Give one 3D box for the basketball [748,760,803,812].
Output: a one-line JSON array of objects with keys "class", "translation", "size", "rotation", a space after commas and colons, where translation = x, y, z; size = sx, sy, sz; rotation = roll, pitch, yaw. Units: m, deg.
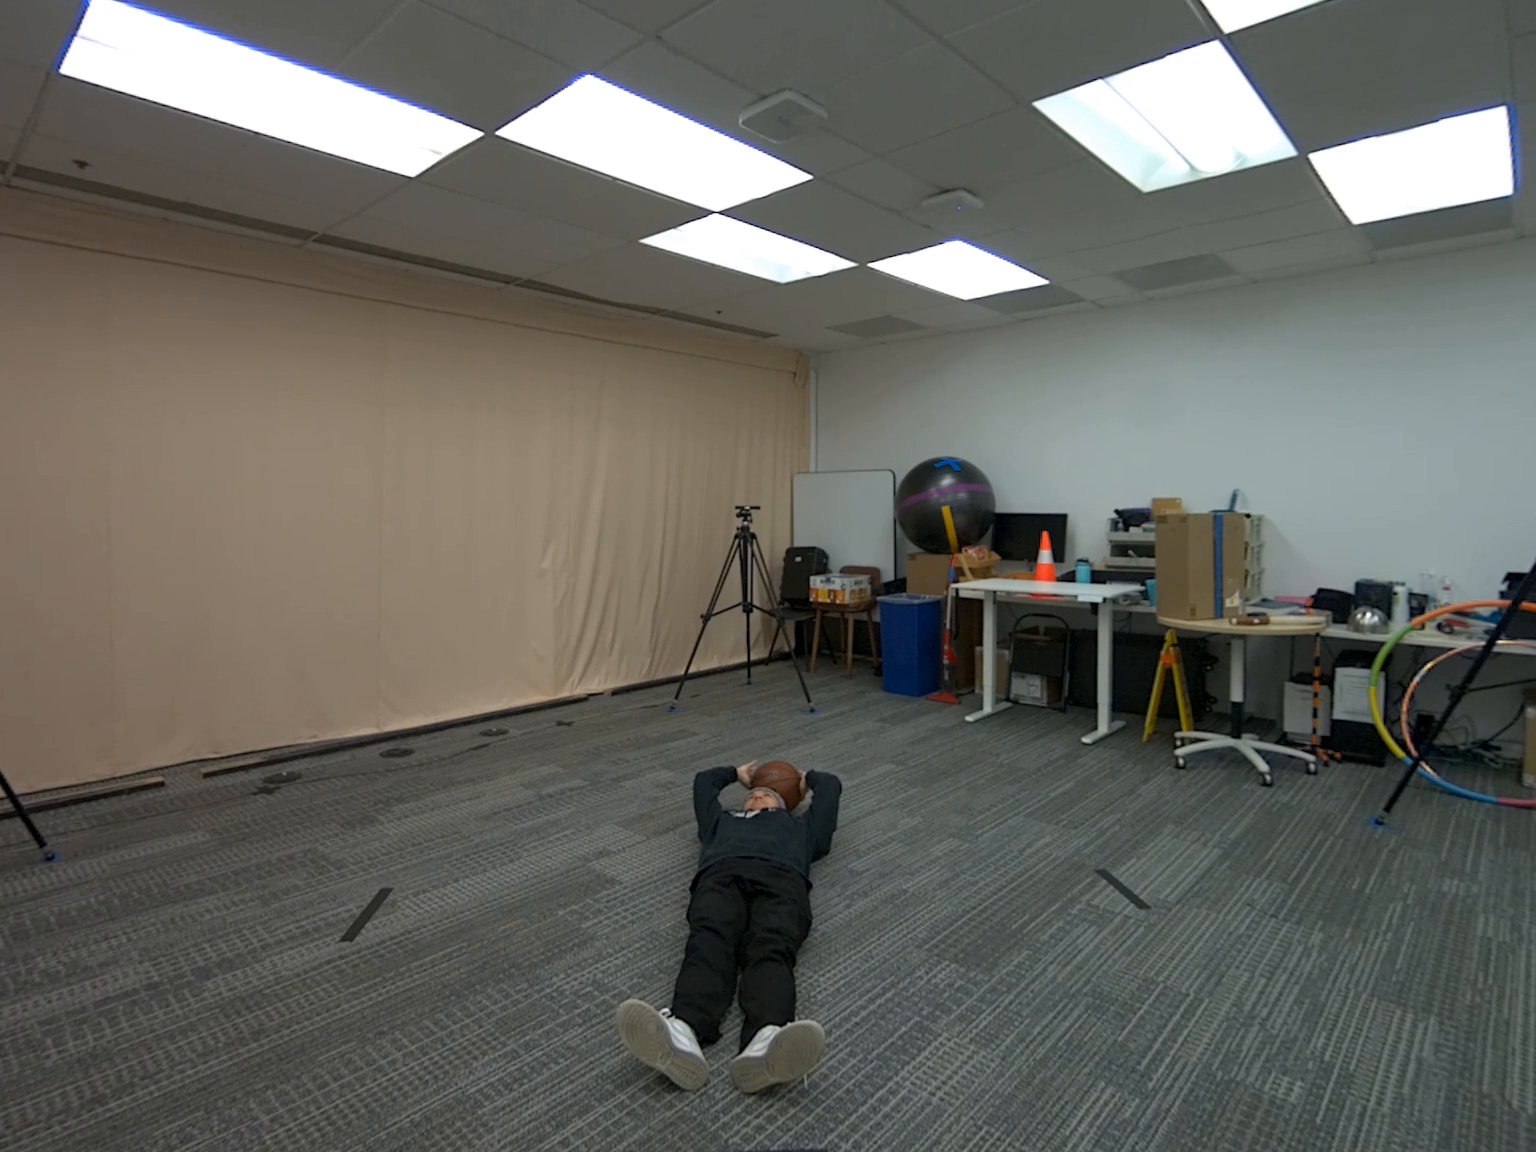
[{"class": "basketball", "translation": [0.049, 0.952, 3.807], "size": [0.236, 0.235, 0.237], "rotation": [0, 4, -2]}]
